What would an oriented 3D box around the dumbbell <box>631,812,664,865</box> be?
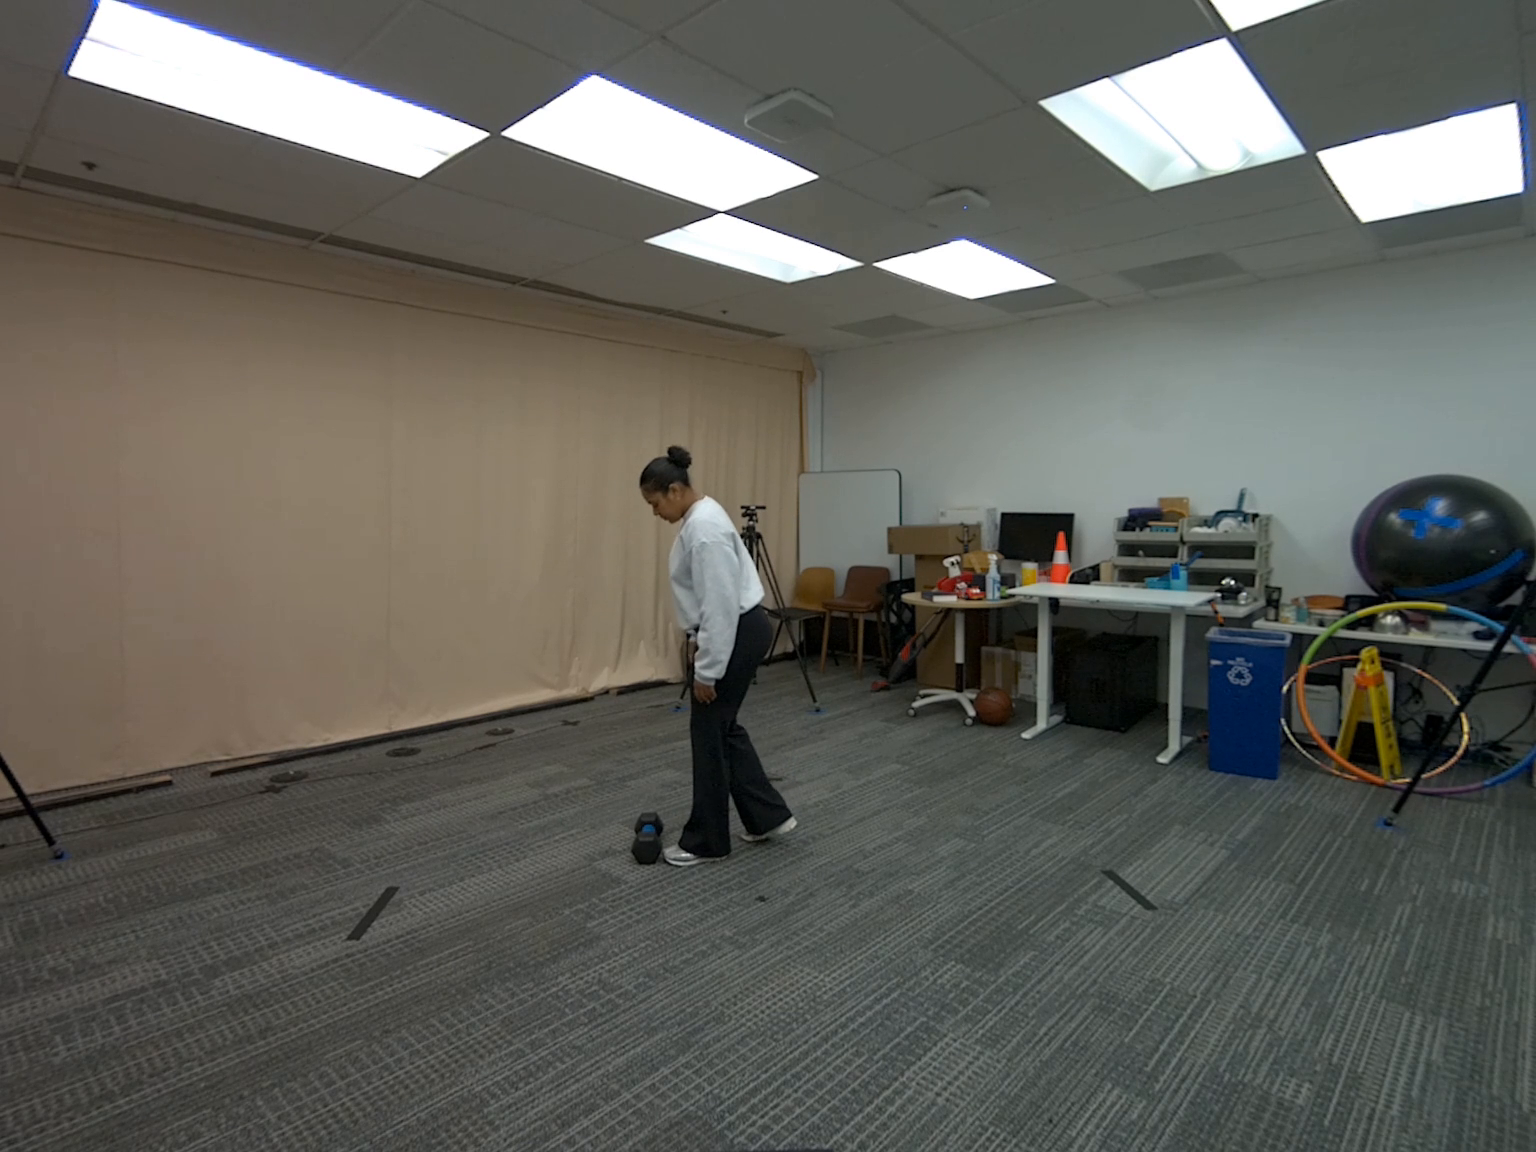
[{"bbox_3d":[-0.485,1.063,3.415,0.108,0.123,0.295,29,1,-7],"label":"dumbbell"}]
